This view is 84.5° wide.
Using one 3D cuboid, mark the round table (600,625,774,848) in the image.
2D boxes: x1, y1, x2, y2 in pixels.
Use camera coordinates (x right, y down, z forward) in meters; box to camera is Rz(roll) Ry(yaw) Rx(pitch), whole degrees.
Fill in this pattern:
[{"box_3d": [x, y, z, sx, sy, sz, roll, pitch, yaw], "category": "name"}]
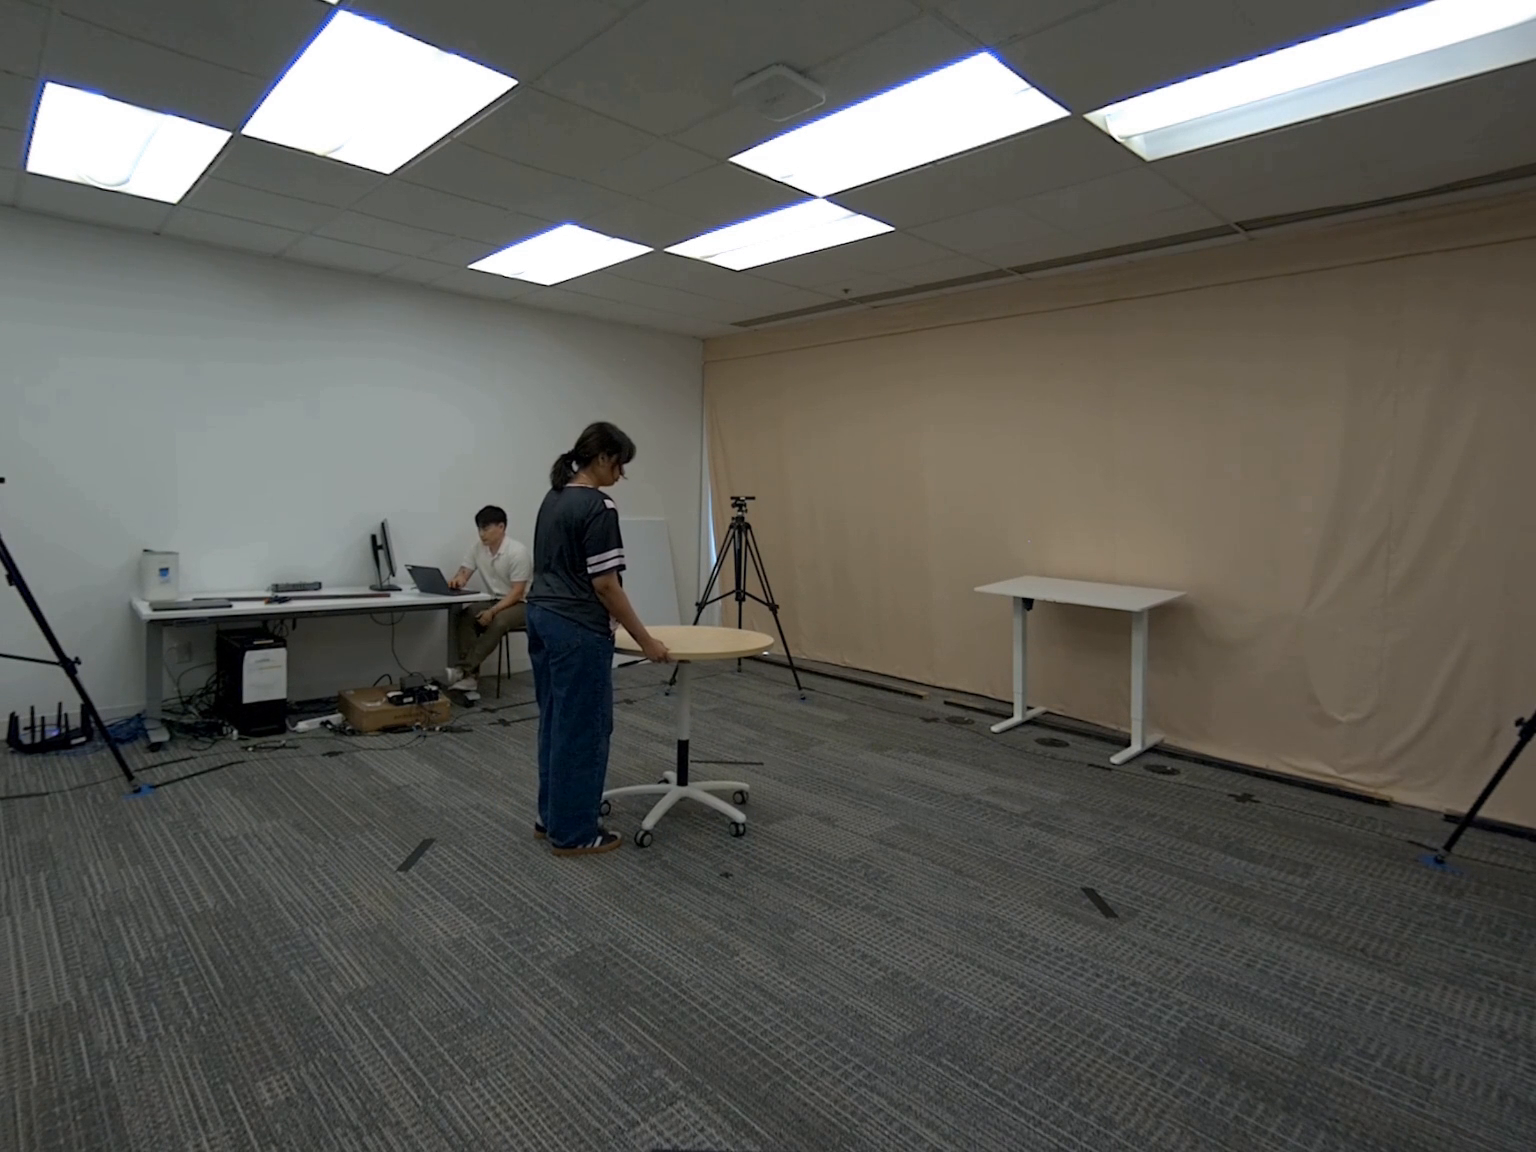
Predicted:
[{"box_3d": [-0.369, 0.660, 3.648, 0.763, 0.792, 0.766, 1, 3, -1], "category": "round table"}]
